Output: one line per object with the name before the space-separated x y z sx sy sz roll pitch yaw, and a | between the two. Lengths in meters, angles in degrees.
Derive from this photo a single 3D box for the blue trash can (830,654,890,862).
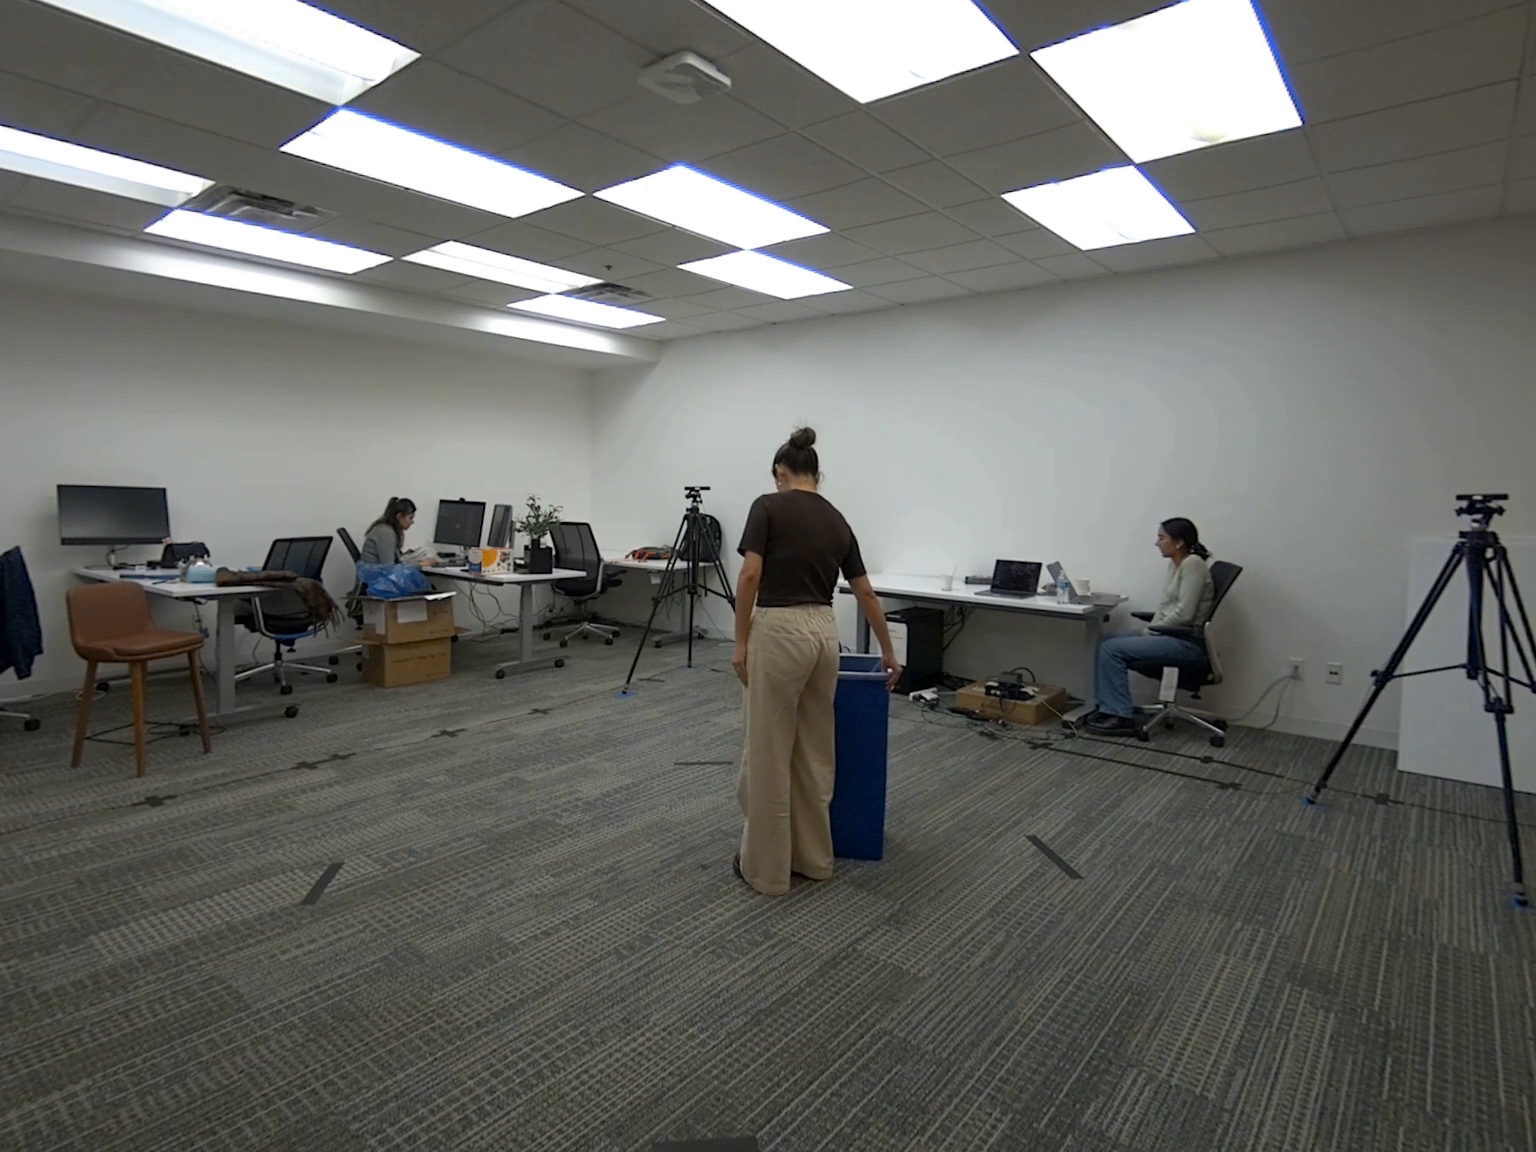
blue trash can | 0.292 0.691 3.355 0.382 0.711 0.372 1 4 9
